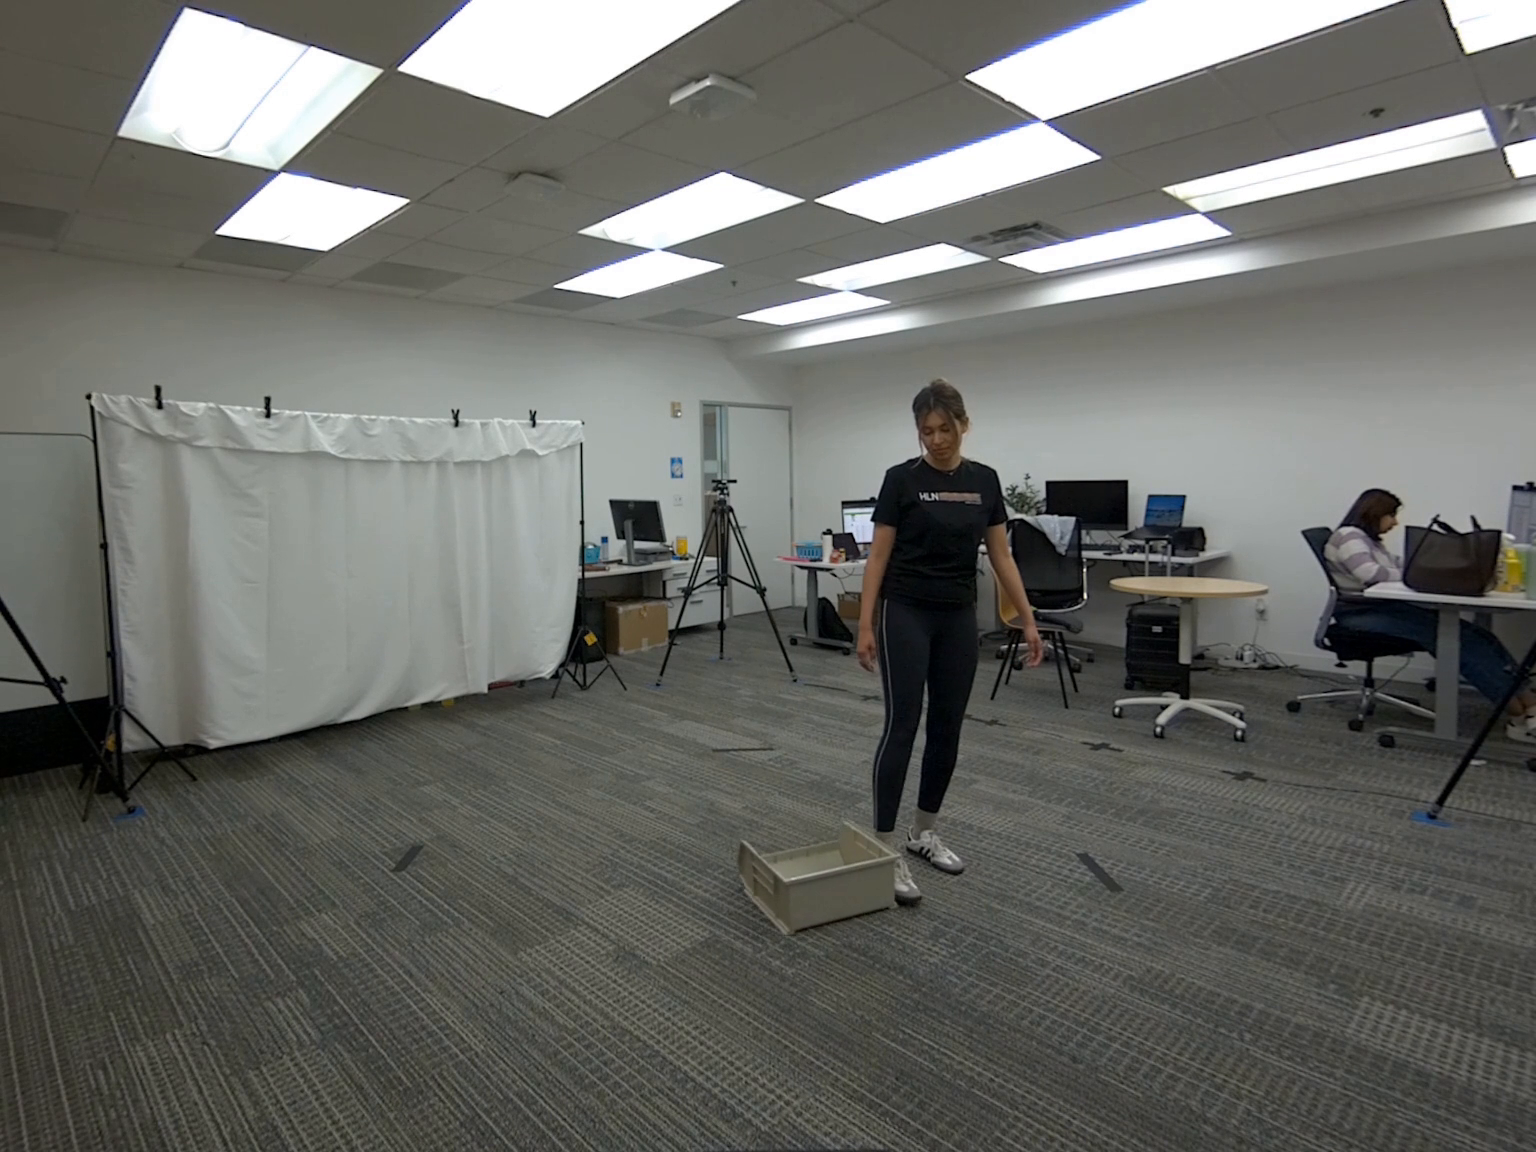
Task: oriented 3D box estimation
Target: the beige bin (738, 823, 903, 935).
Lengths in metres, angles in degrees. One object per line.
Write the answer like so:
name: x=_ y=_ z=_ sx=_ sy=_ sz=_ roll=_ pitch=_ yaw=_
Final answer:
beige bin: x=0.164 y=0.986 z=2.850 sx=0.414 sy=0.188 sz=0.387 roll=-3 pitch=7 yaw=-25
